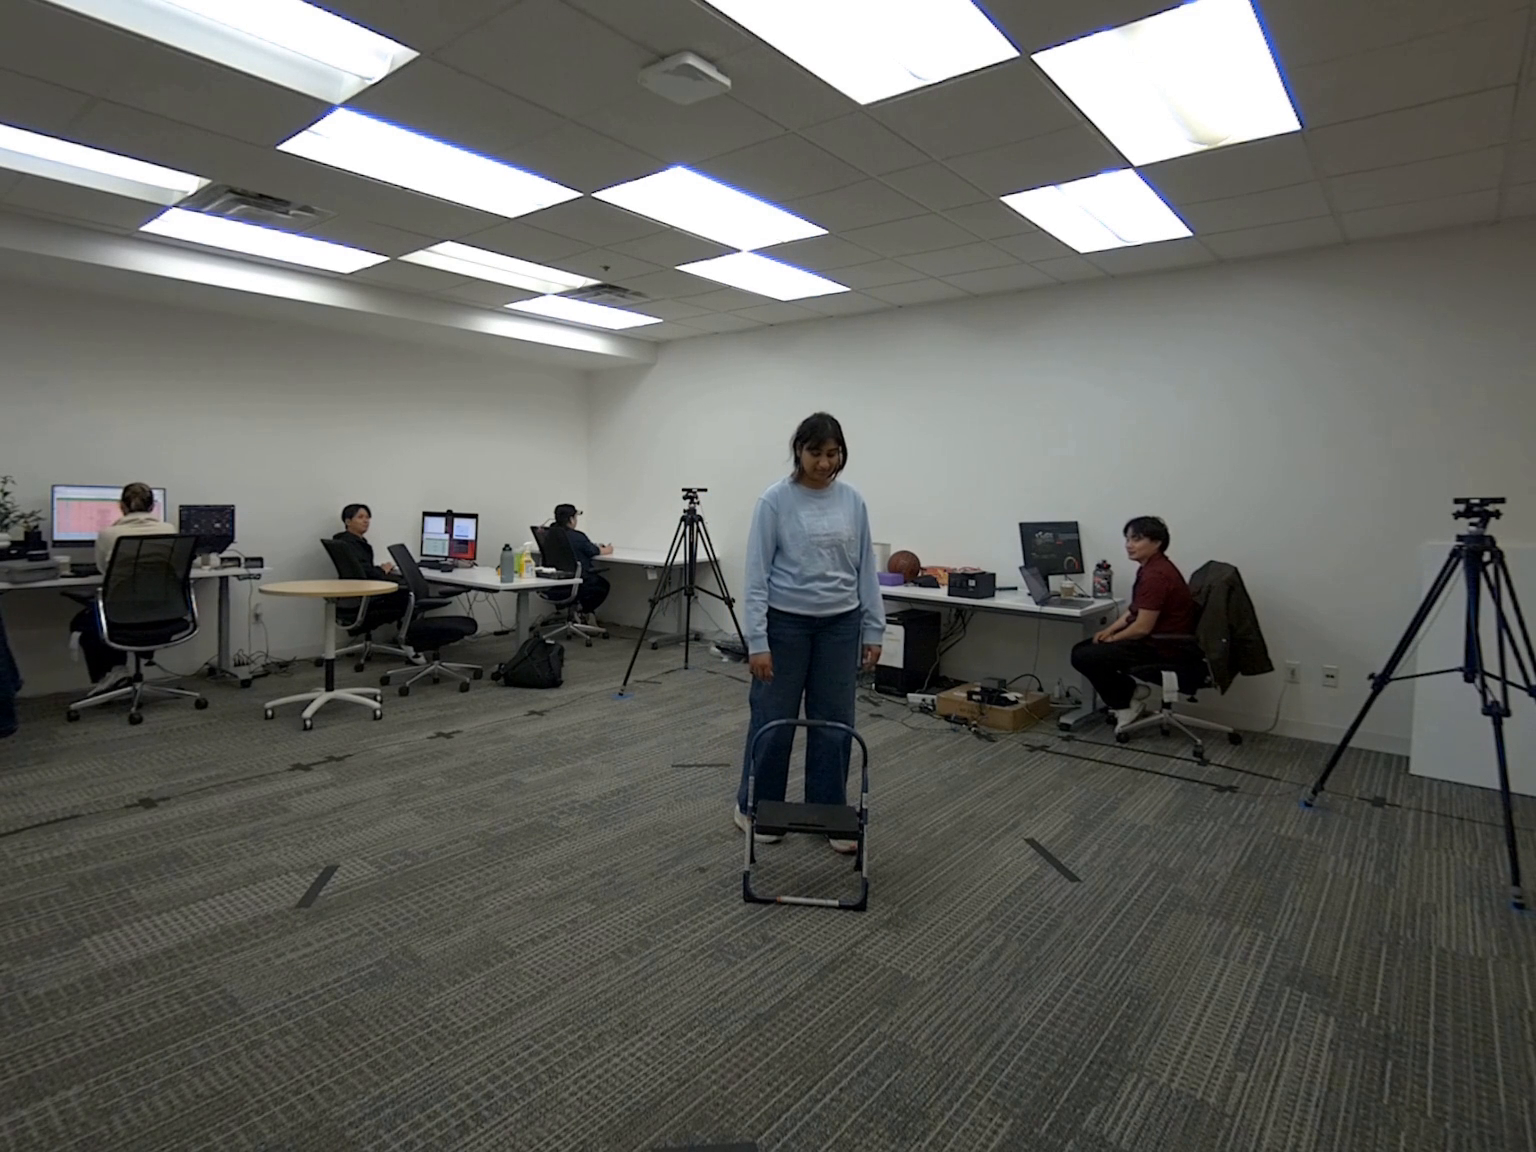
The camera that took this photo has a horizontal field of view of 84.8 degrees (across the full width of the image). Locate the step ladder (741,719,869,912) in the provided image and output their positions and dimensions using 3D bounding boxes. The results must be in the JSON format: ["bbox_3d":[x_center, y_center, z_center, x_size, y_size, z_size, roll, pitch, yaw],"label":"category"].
[{"bbox_3d":[0.132,0.788,2.994,0.433,0.605,0.348,2,3,5],"label":"step ladder"}]
